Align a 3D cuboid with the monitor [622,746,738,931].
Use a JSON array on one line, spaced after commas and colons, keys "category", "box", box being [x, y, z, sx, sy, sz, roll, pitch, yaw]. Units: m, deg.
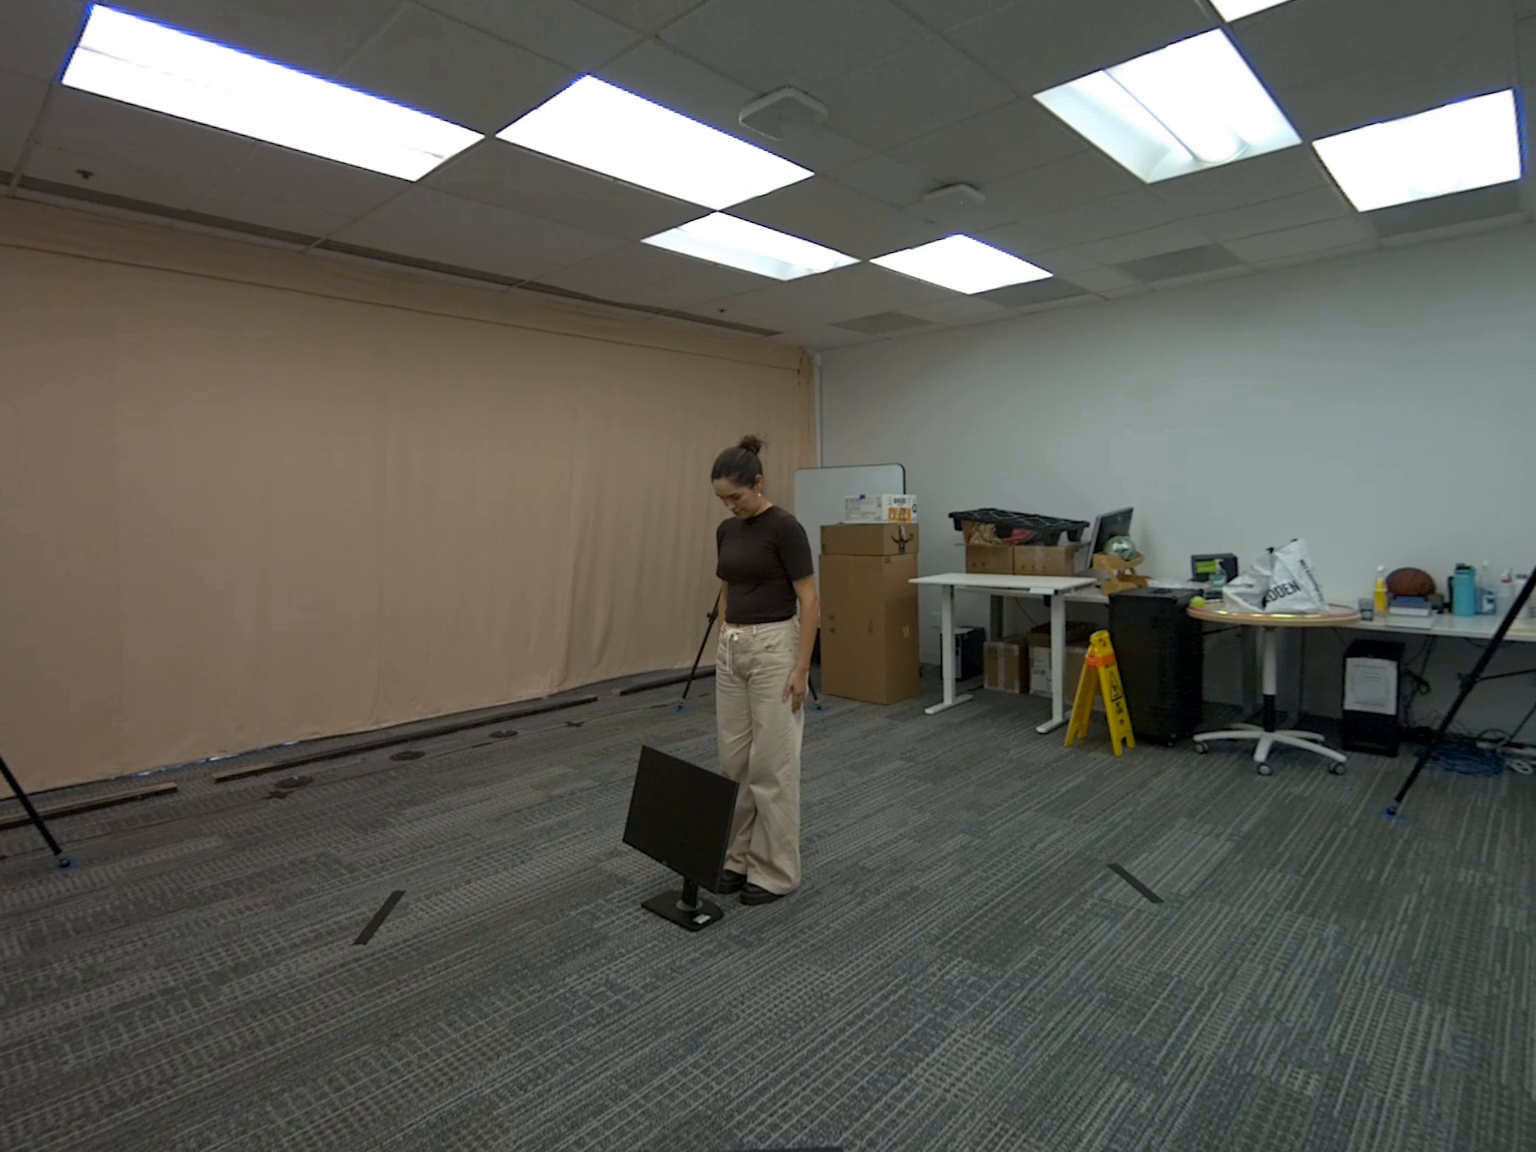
[{"category": "monitor", "box": [-0.283, 0.903, 2.897, 0.181, 0.522, 0.557, -2, 4, -45]}]
